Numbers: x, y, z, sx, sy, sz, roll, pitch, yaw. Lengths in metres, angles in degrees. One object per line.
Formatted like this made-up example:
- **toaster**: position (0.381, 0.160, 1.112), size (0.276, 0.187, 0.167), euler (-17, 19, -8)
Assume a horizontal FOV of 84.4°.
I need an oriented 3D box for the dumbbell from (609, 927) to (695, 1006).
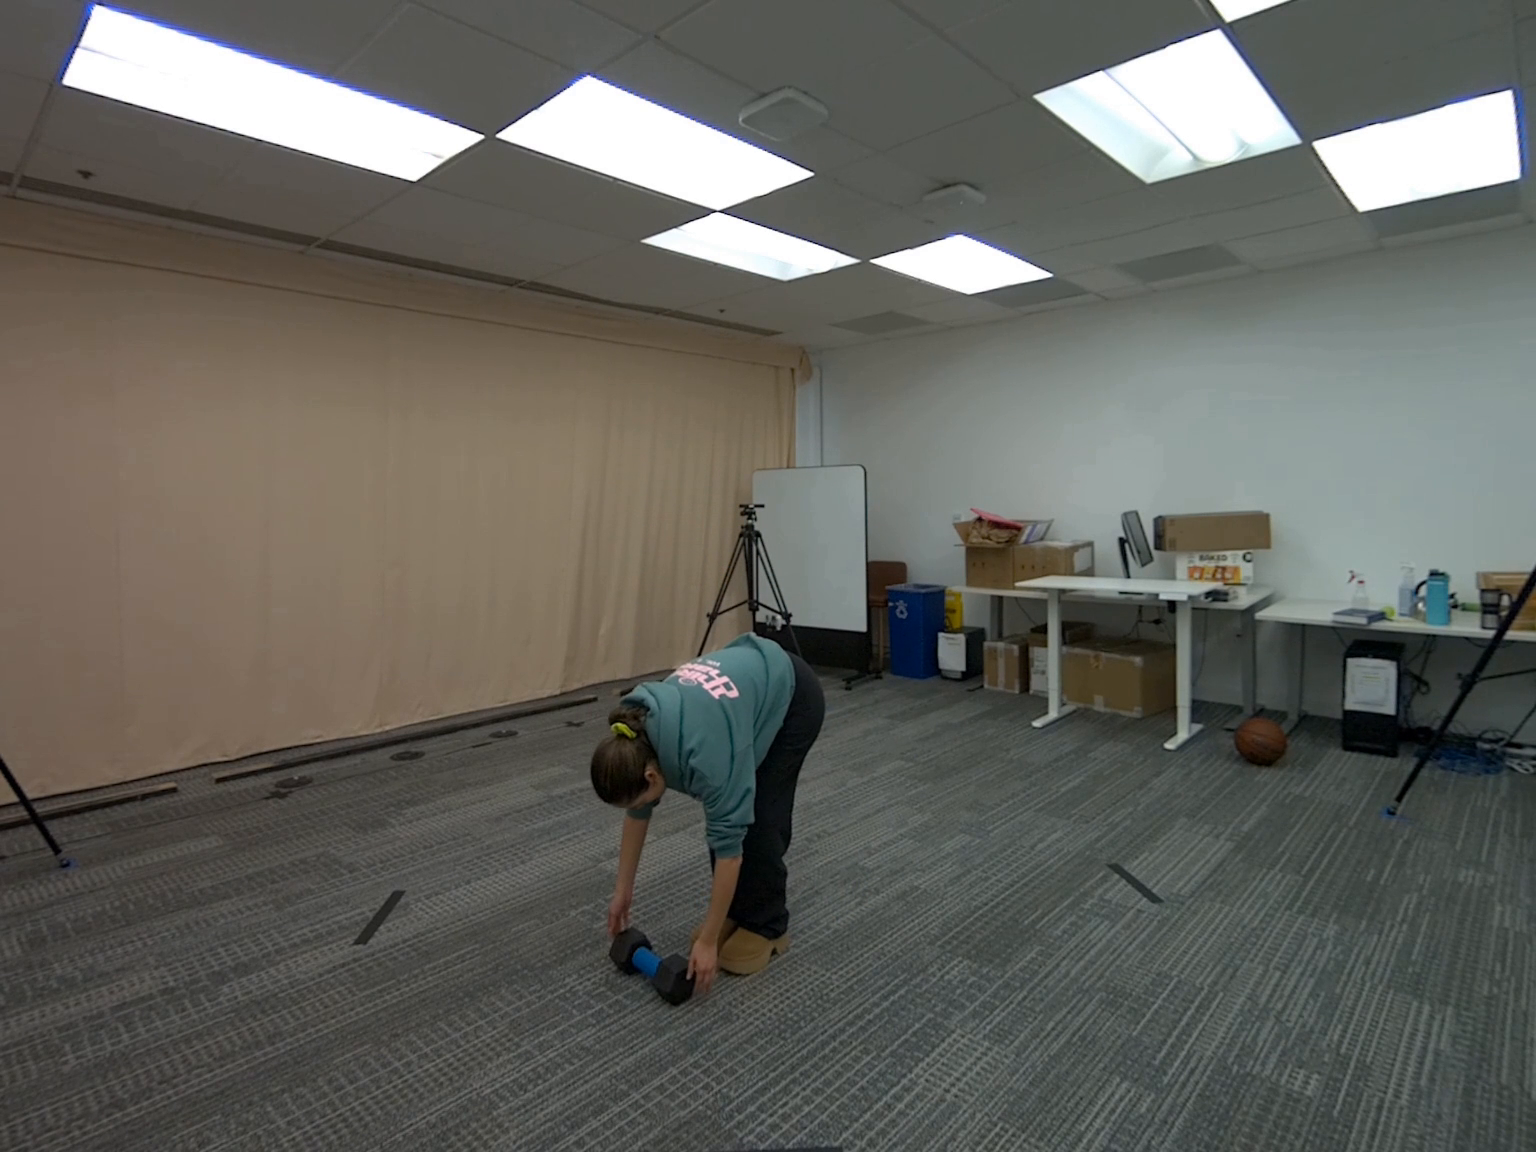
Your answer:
- **dumbbell**: position (-0.333, 1.135, 2.459), size (0.303, 0.120, 0.107), euler (5, 38, 48)
